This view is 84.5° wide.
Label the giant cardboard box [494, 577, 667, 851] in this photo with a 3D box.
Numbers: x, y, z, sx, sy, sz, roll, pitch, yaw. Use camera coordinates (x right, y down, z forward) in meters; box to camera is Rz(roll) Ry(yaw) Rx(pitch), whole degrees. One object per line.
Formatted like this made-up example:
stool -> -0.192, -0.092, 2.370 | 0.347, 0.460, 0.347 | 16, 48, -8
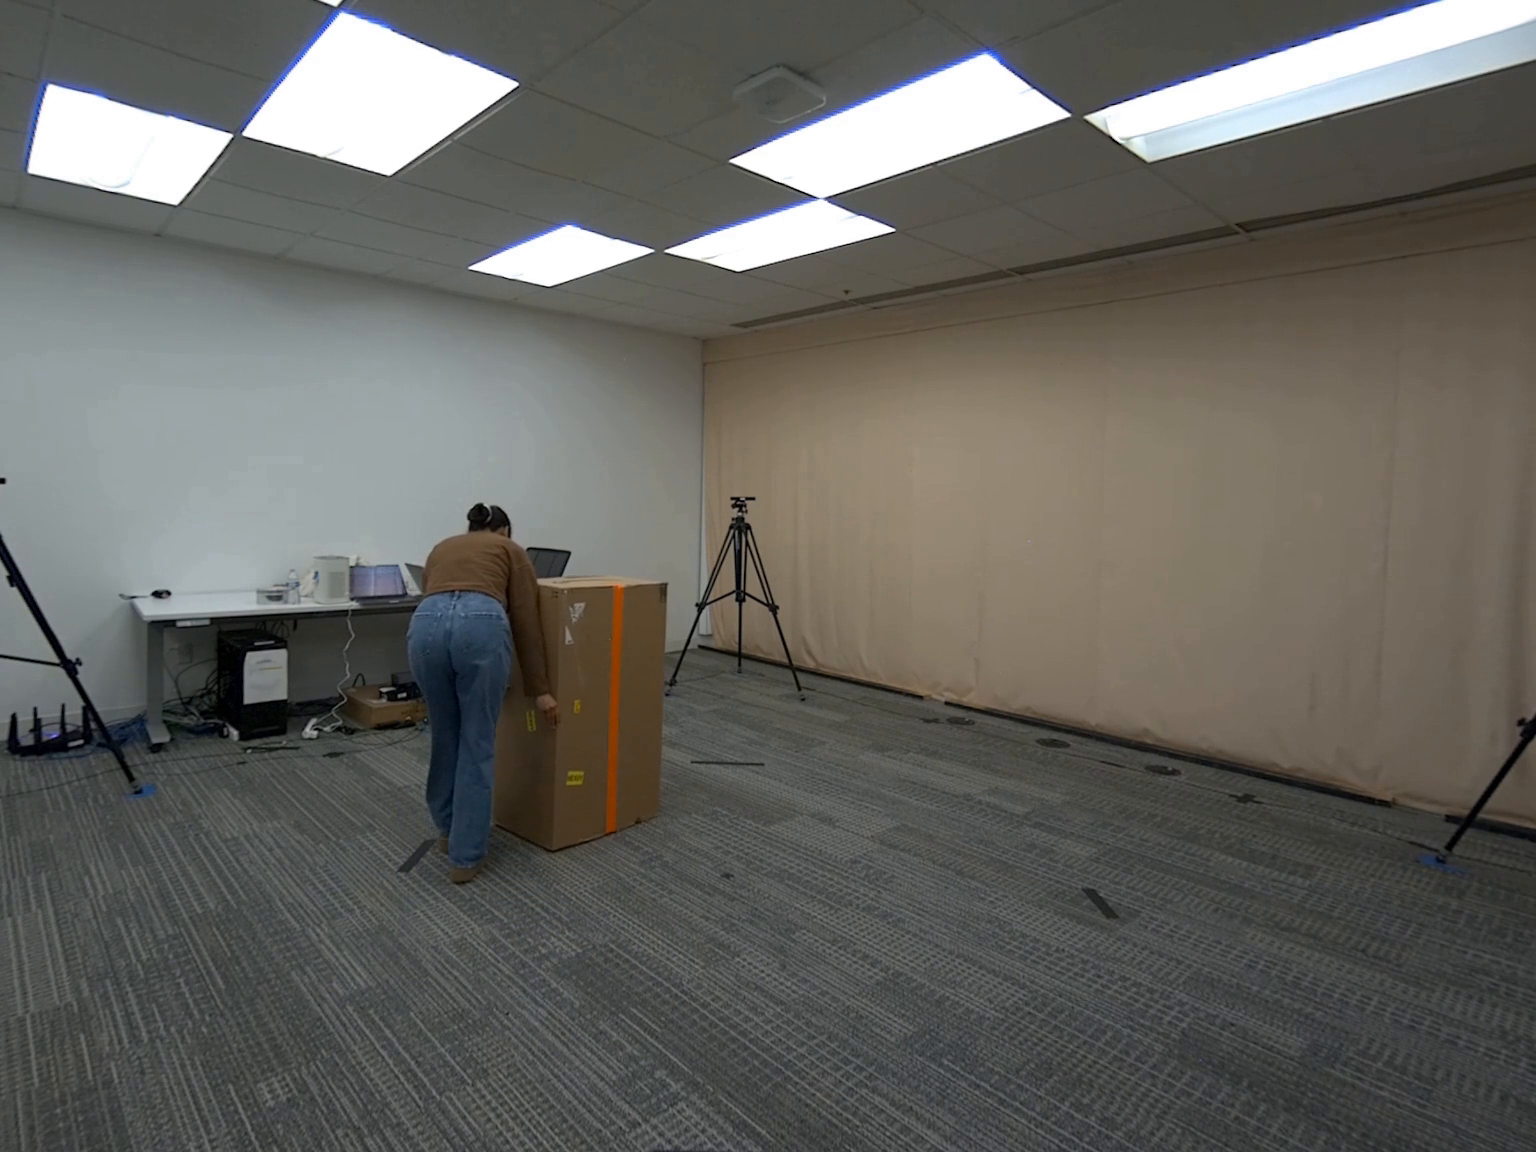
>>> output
giant cardboard box -> -0.796, 0.536, 3.592 | 0.437, 1.024, 0.564 | 4, 3, 40
